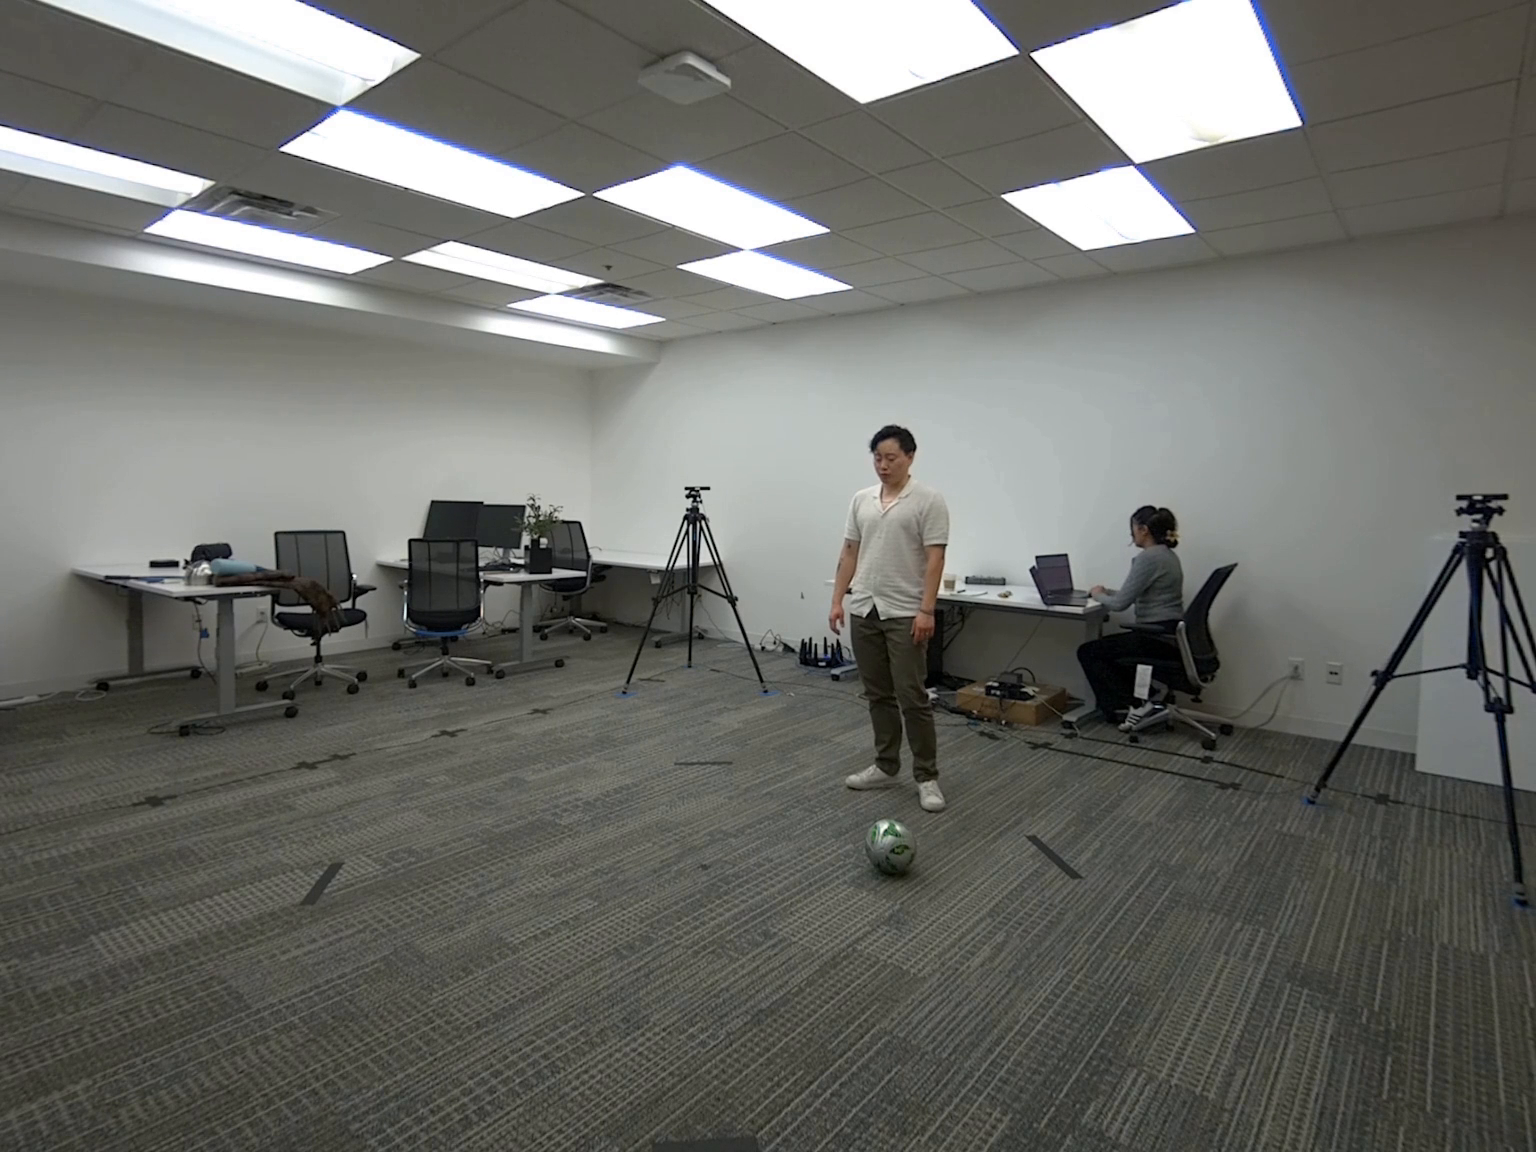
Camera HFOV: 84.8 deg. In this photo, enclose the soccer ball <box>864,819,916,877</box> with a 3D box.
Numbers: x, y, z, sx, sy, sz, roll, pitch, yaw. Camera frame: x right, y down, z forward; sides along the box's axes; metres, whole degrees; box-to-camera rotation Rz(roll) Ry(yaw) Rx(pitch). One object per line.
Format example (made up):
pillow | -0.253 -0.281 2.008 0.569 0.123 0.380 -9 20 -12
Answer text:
soccer ball | 0.446 0.983 3.111 0.187 0.187 0.188 1 4 -2
